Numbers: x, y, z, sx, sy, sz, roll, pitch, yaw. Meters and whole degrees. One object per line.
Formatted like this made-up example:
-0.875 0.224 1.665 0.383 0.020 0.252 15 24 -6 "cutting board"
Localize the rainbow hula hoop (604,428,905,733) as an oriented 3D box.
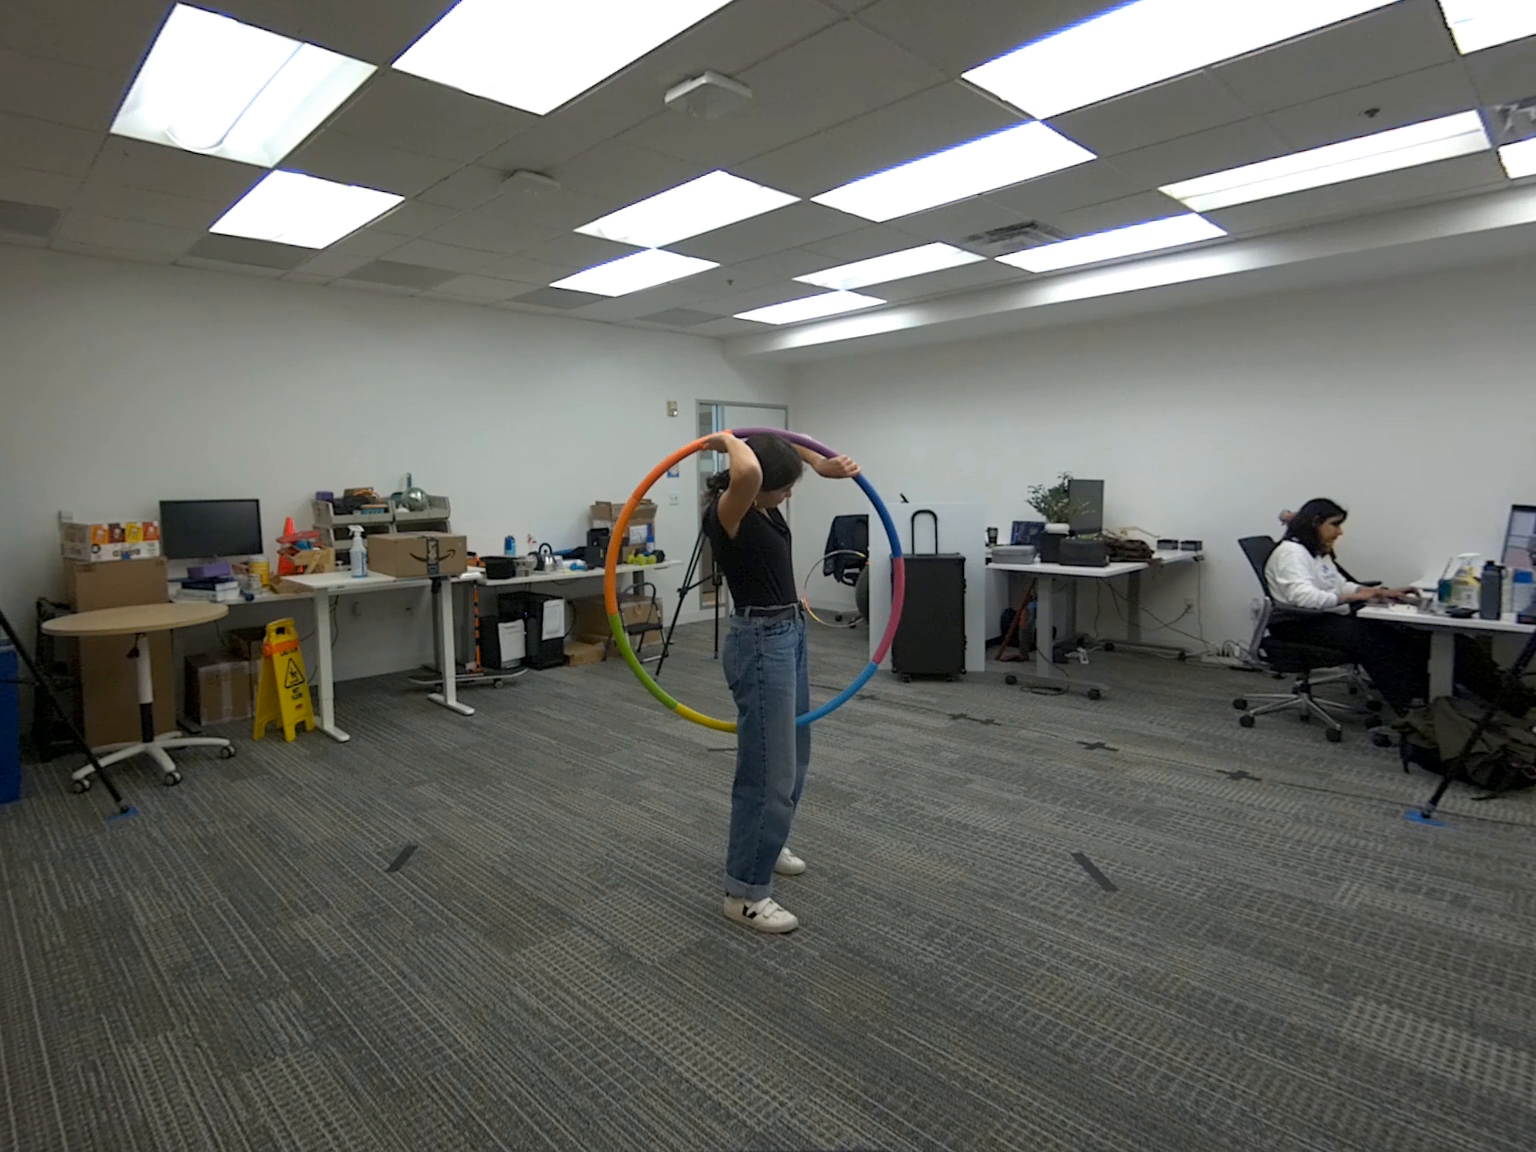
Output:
-0.033 0.015 2.743 0.971 0.974 0.036 -2 5 -8 "rainbow hula hoop"
